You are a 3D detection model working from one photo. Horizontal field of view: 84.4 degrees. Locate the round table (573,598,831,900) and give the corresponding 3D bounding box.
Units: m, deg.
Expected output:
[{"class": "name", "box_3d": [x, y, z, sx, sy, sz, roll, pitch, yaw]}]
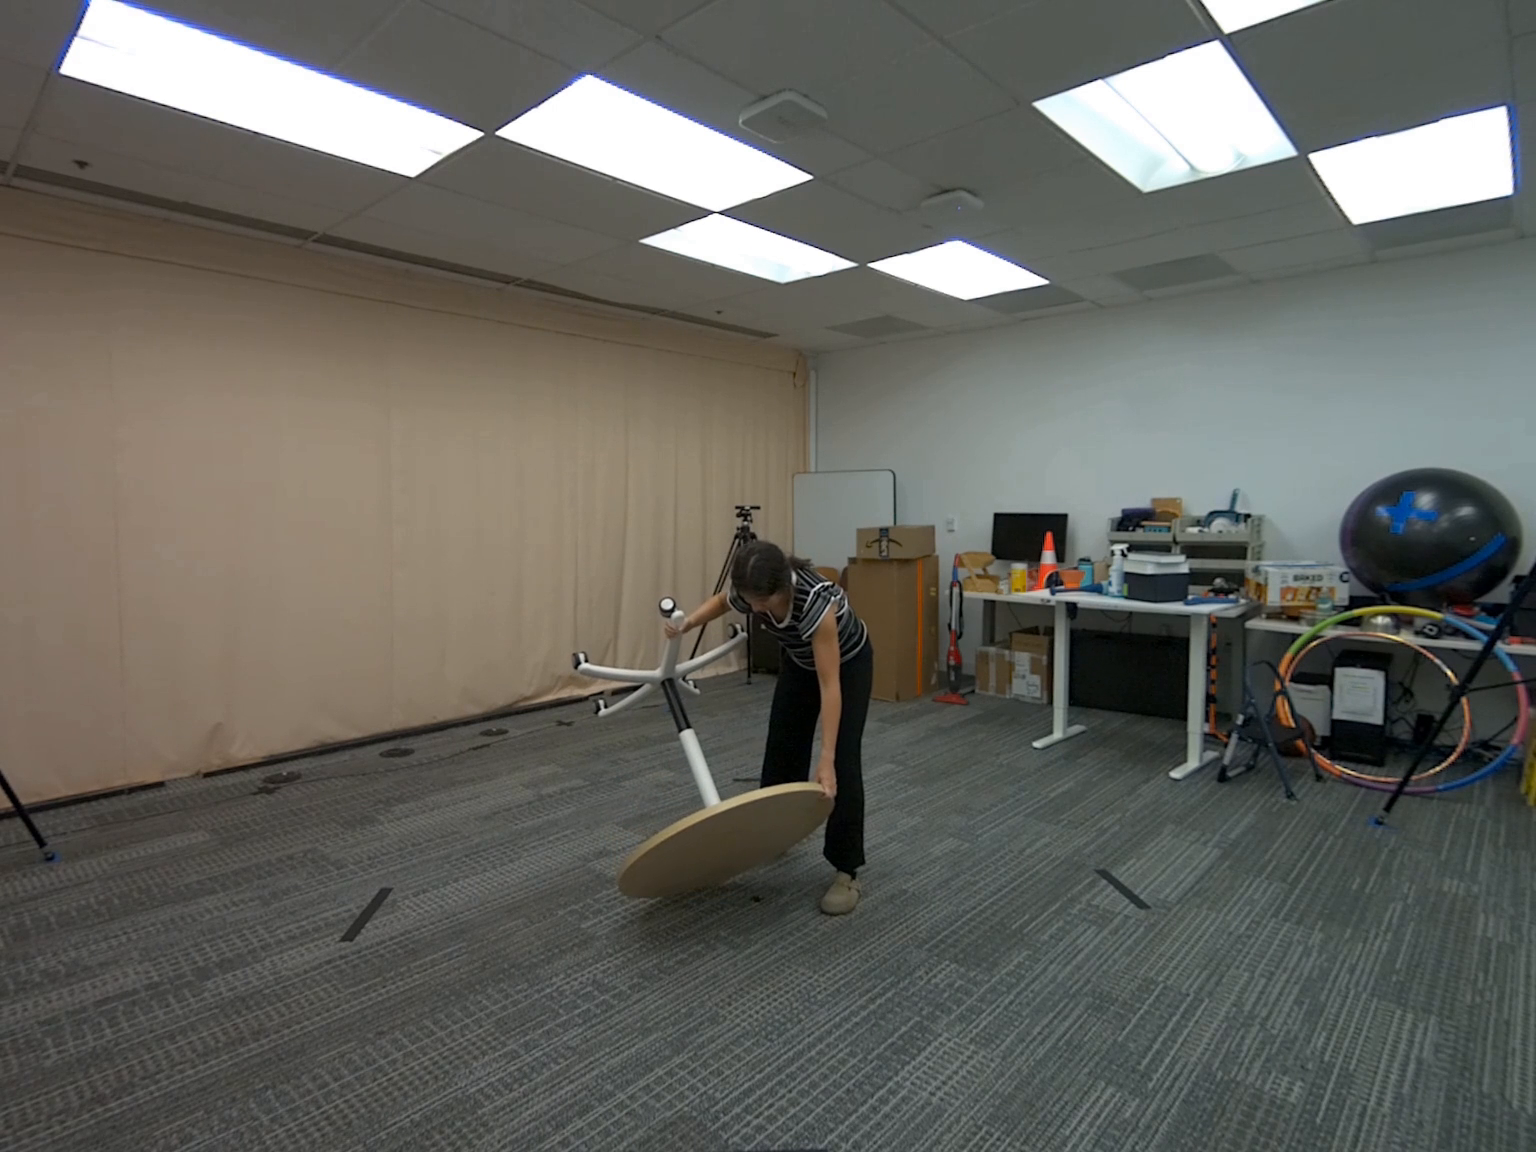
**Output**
[{"class": "round table", "box_3d": [-0.278, 0.597, 3.016, 0.755, 0.816, 0.751, -18, -33, -14]}]
